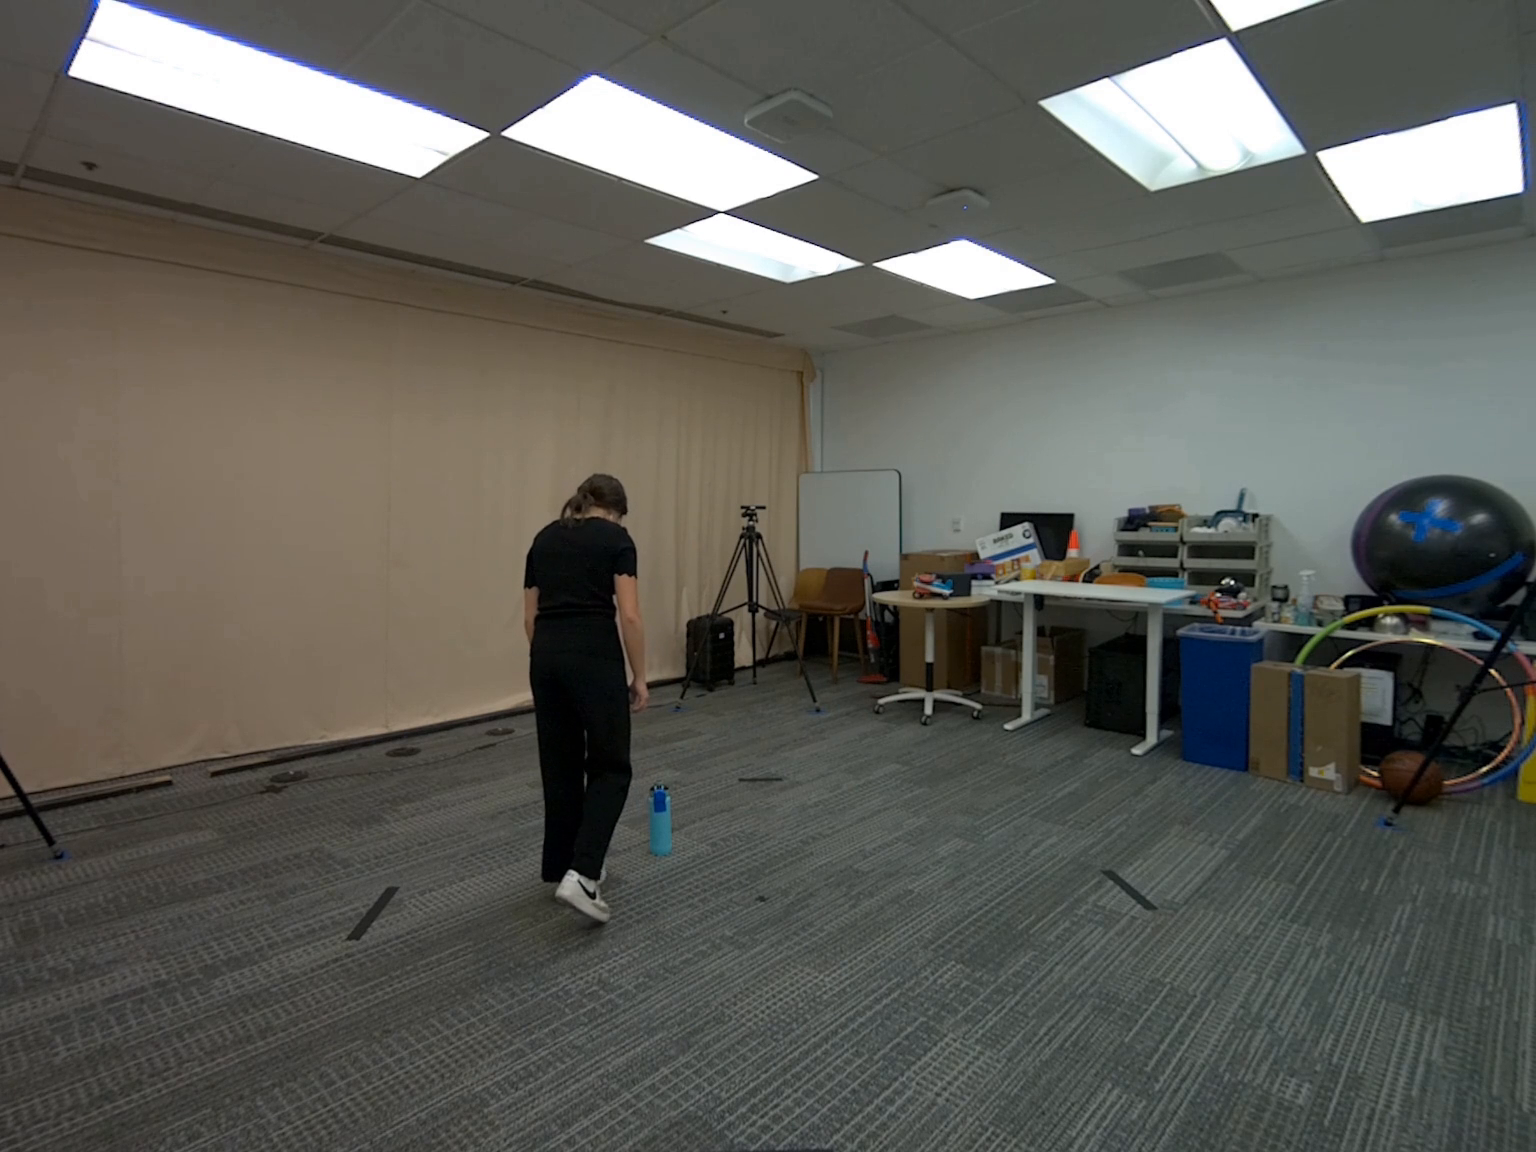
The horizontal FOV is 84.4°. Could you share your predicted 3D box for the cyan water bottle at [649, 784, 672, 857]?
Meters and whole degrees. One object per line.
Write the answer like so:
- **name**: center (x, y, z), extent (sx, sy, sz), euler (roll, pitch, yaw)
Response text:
- **cyan water bottle**: center (-0.435, 0.974, 3.396), extent (0.092, 0.283, 0.092), euler (-1, 3, -2)
